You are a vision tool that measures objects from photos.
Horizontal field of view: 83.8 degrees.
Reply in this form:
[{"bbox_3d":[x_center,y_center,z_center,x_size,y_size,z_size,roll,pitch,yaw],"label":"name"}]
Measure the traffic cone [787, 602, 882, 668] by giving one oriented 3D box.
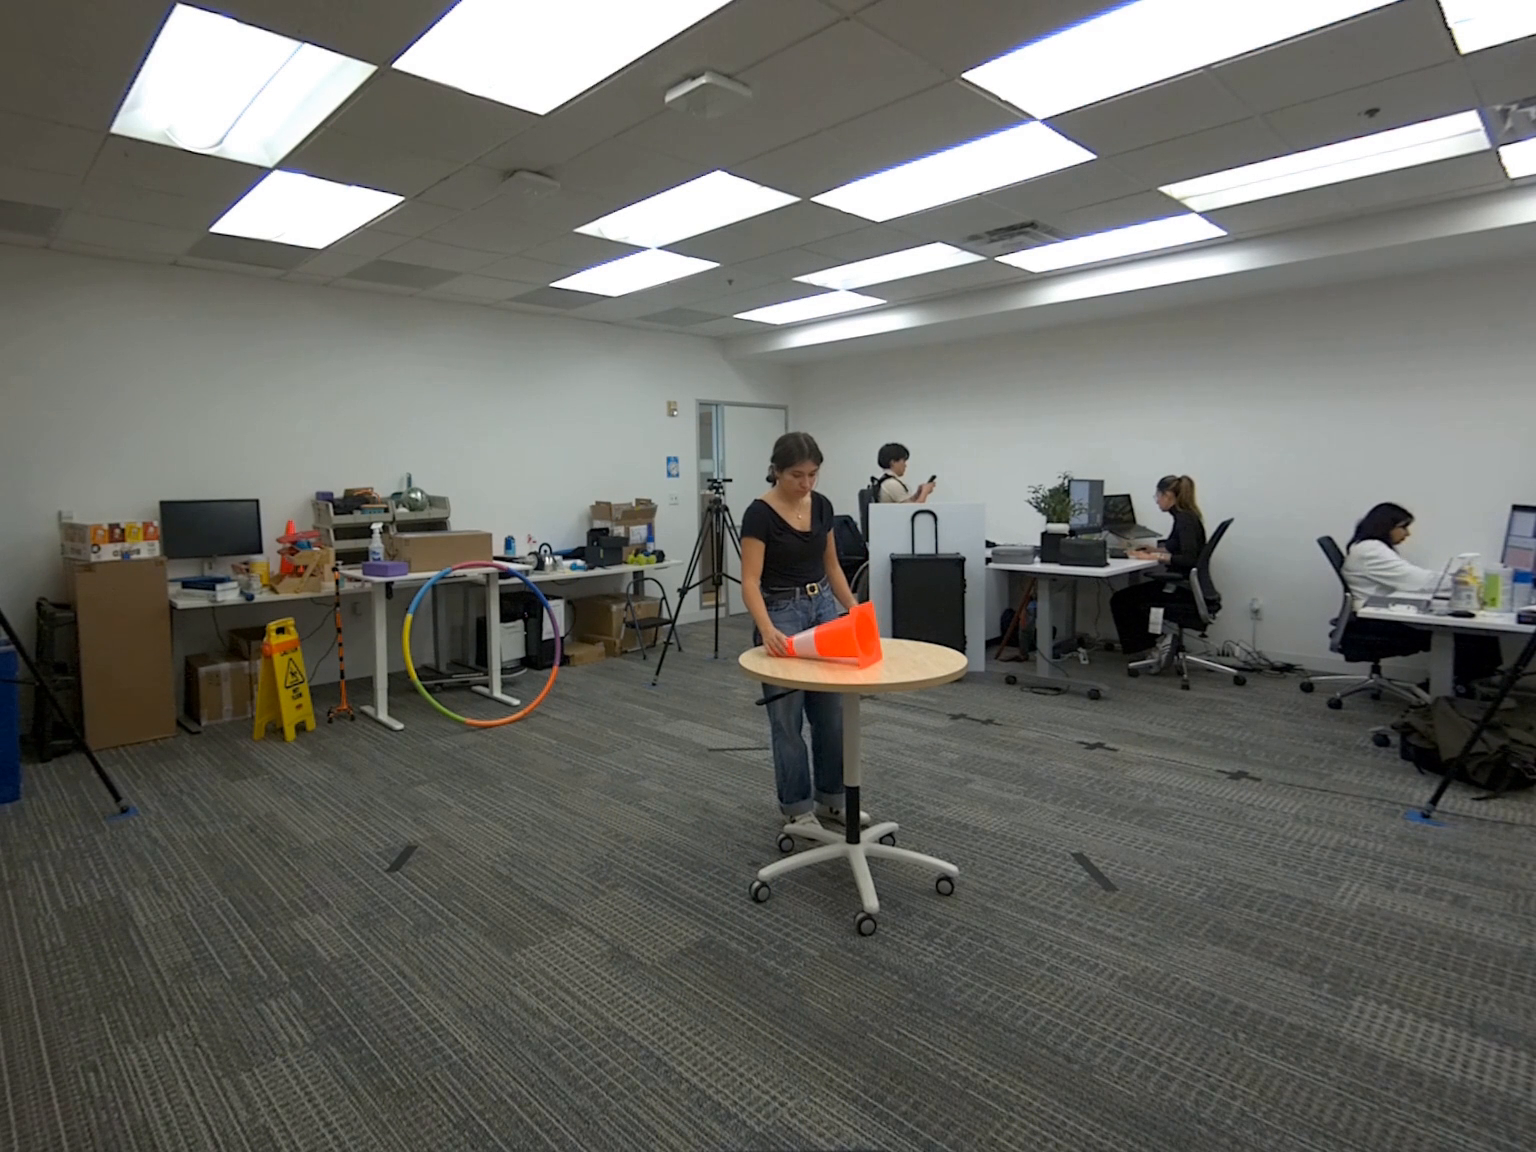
[{"bbox_3d":[0.164,0.234,2.902,0.391,0.205,0.199,-14,-1,30],"label":"traffic cone"}]
